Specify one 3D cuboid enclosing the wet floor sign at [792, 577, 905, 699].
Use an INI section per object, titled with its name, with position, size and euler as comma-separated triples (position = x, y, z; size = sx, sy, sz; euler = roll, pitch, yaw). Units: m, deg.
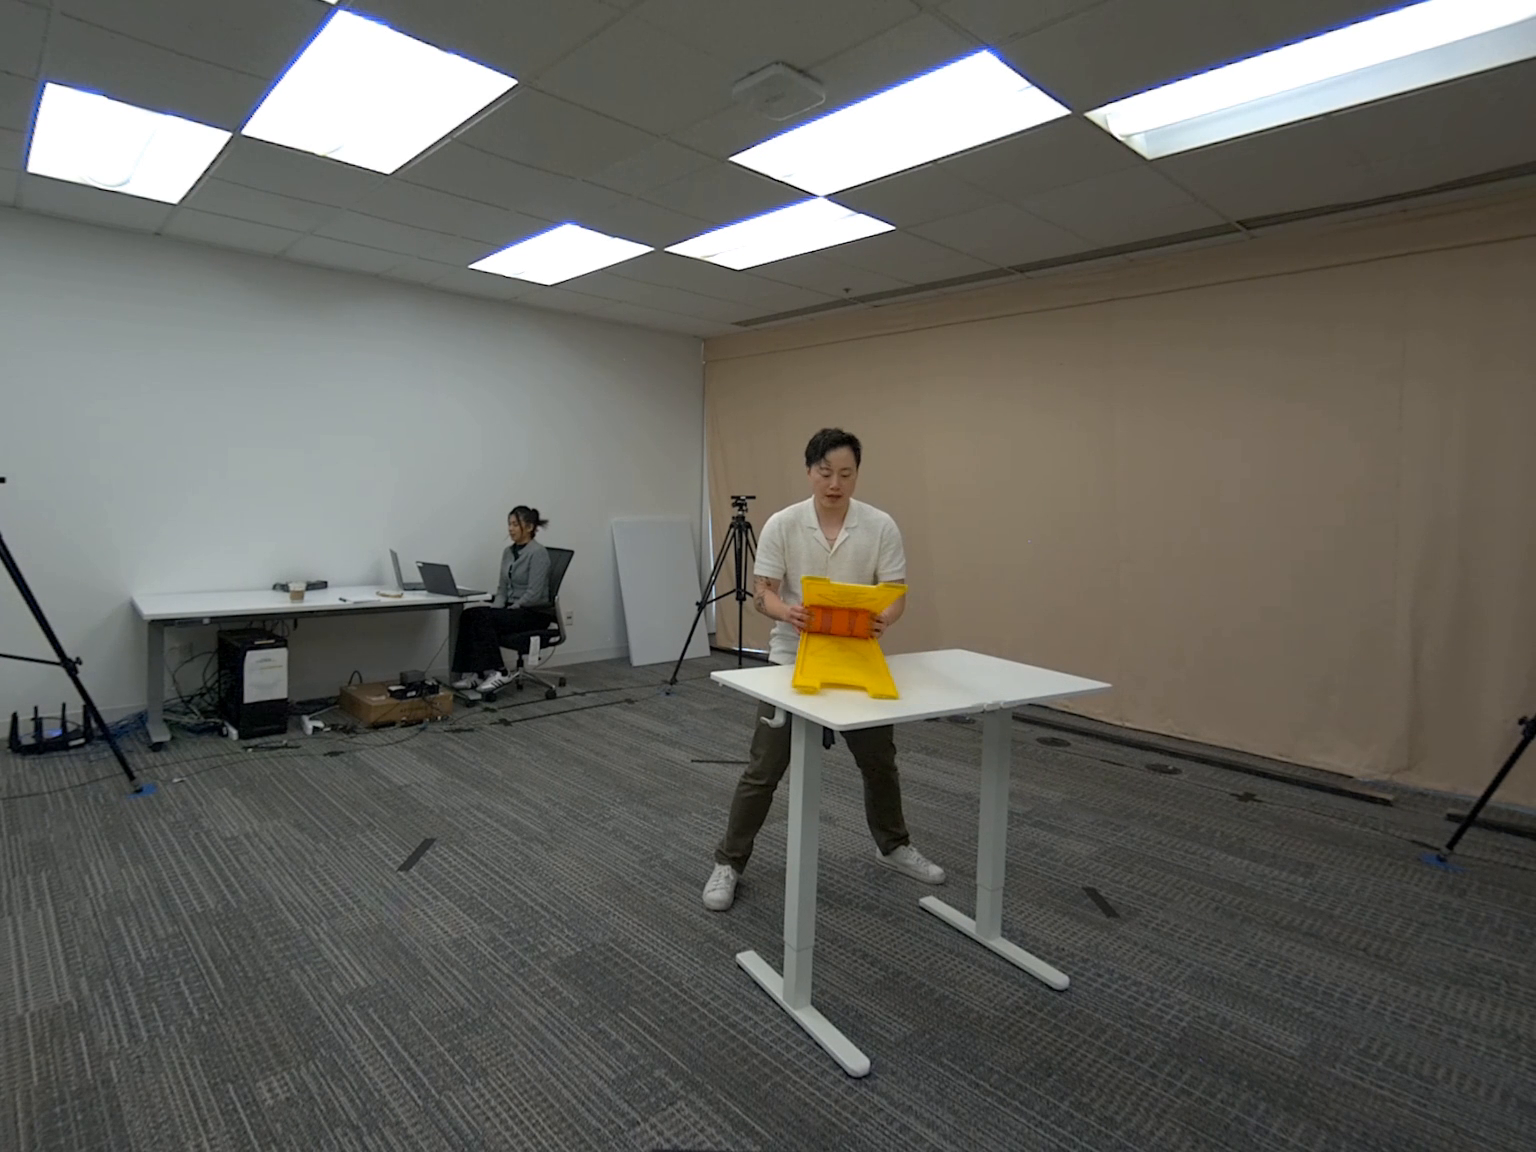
[wet floor sign]
position = 0.213, 0.151, 2.480
size = 0.283, 0.289, 0.645
euler = 5, 2, 2
